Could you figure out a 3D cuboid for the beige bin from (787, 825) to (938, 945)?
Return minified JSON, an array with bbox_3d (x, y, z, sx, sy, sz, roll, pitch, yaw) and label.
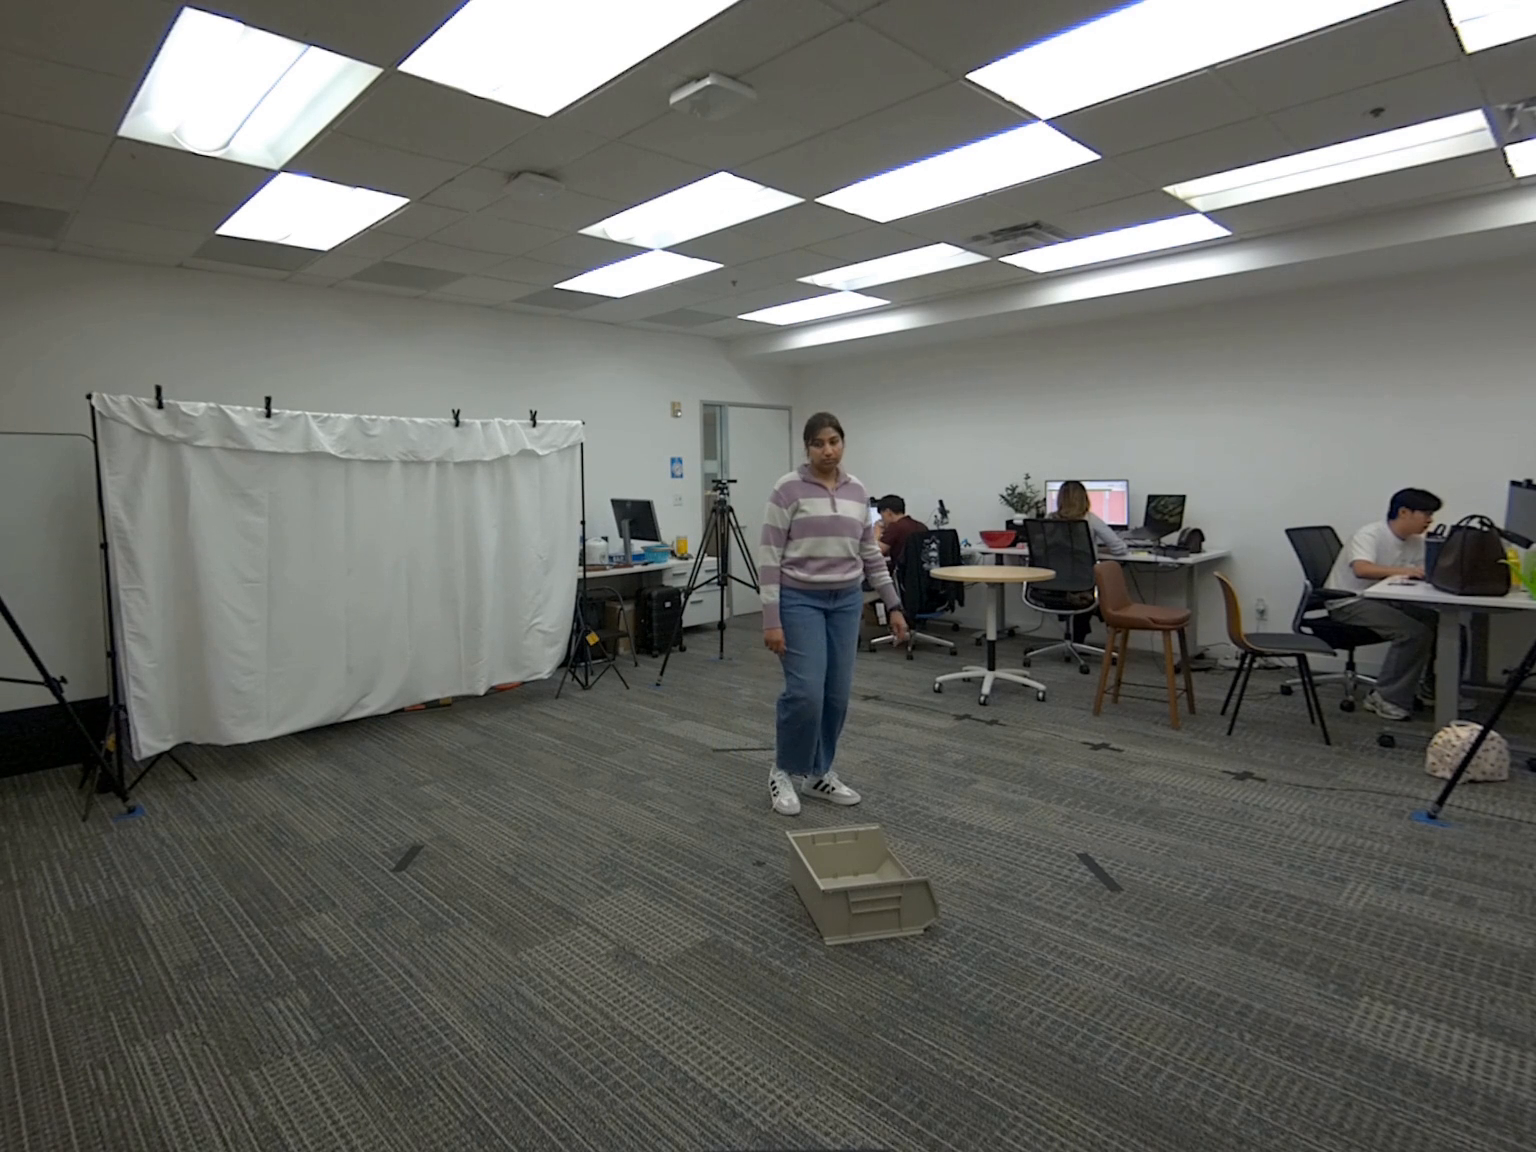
[{"bbox_3d":[0.294,0.991,2.782,0.373,0.188,0.429,-3,7,-12],"label":"beige bin"}]
